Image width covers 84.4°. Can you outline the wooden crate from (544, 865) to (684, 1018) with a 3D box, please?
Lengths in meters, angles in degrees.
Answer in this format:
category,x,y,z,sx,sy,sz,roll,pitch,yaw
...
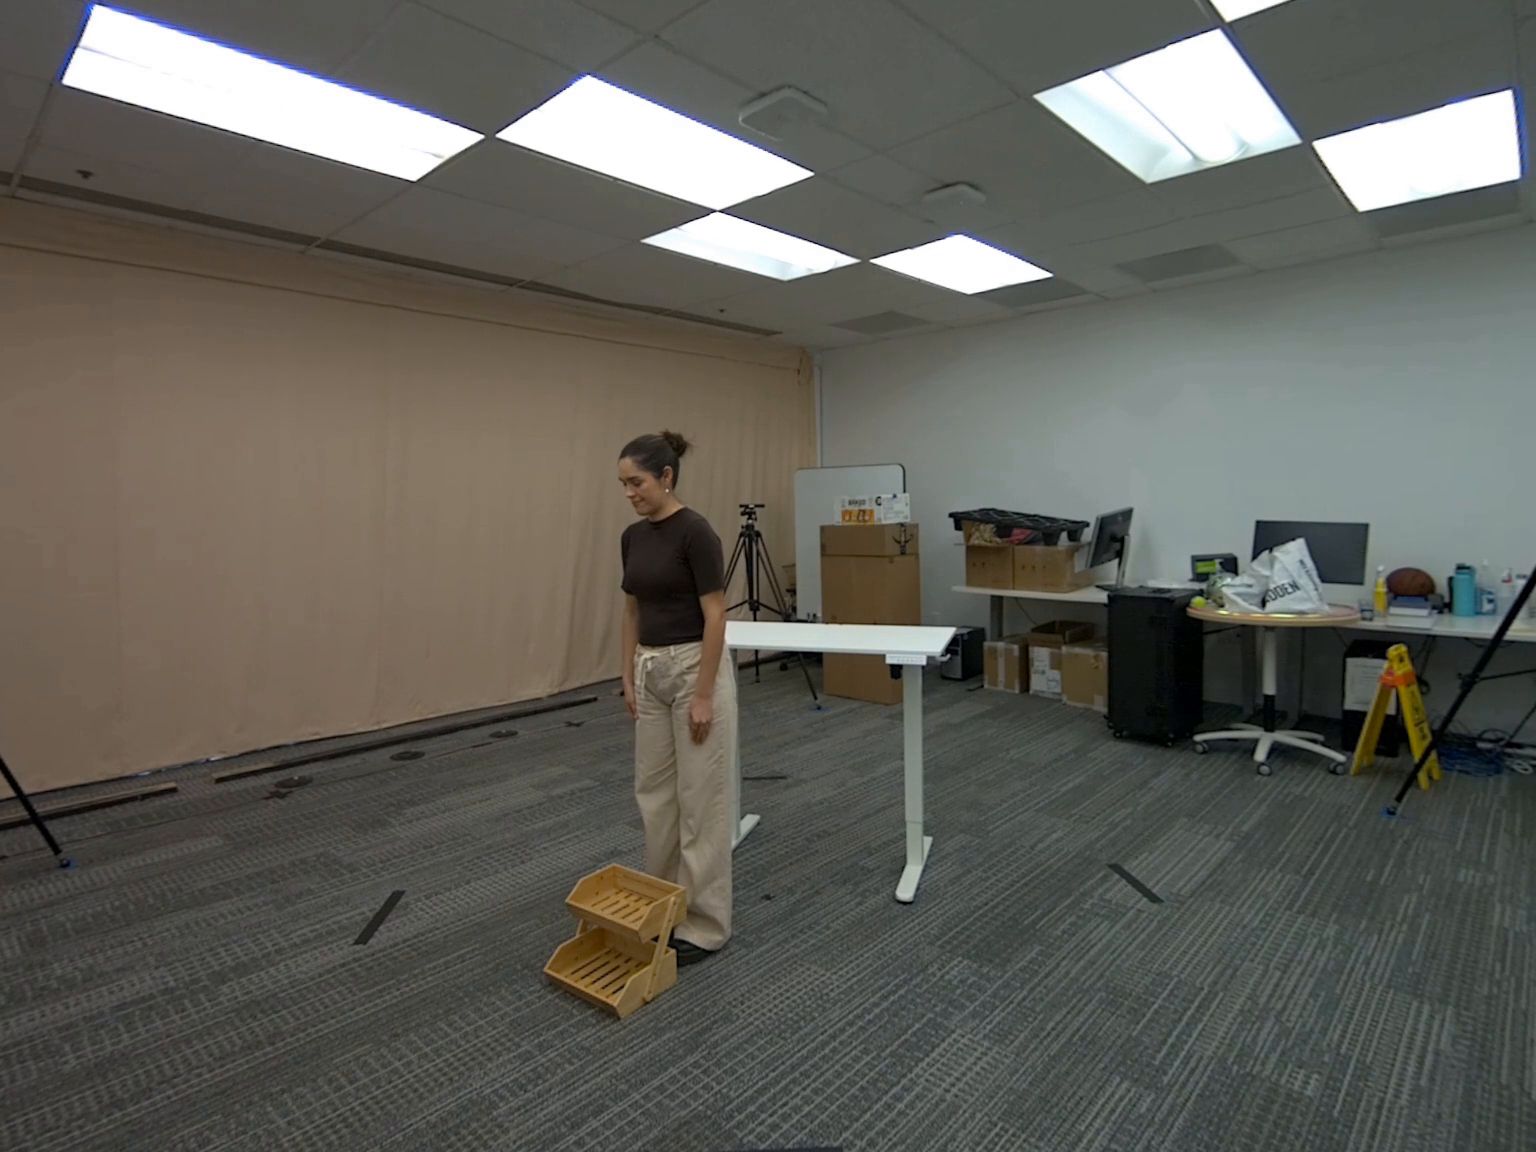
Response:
category,x,y,z,sx,sy,sz,roll,pitch,yaw
wooden crate,-0.451,1.062,2.475,0.335,0.273,0.293,2,4,37
